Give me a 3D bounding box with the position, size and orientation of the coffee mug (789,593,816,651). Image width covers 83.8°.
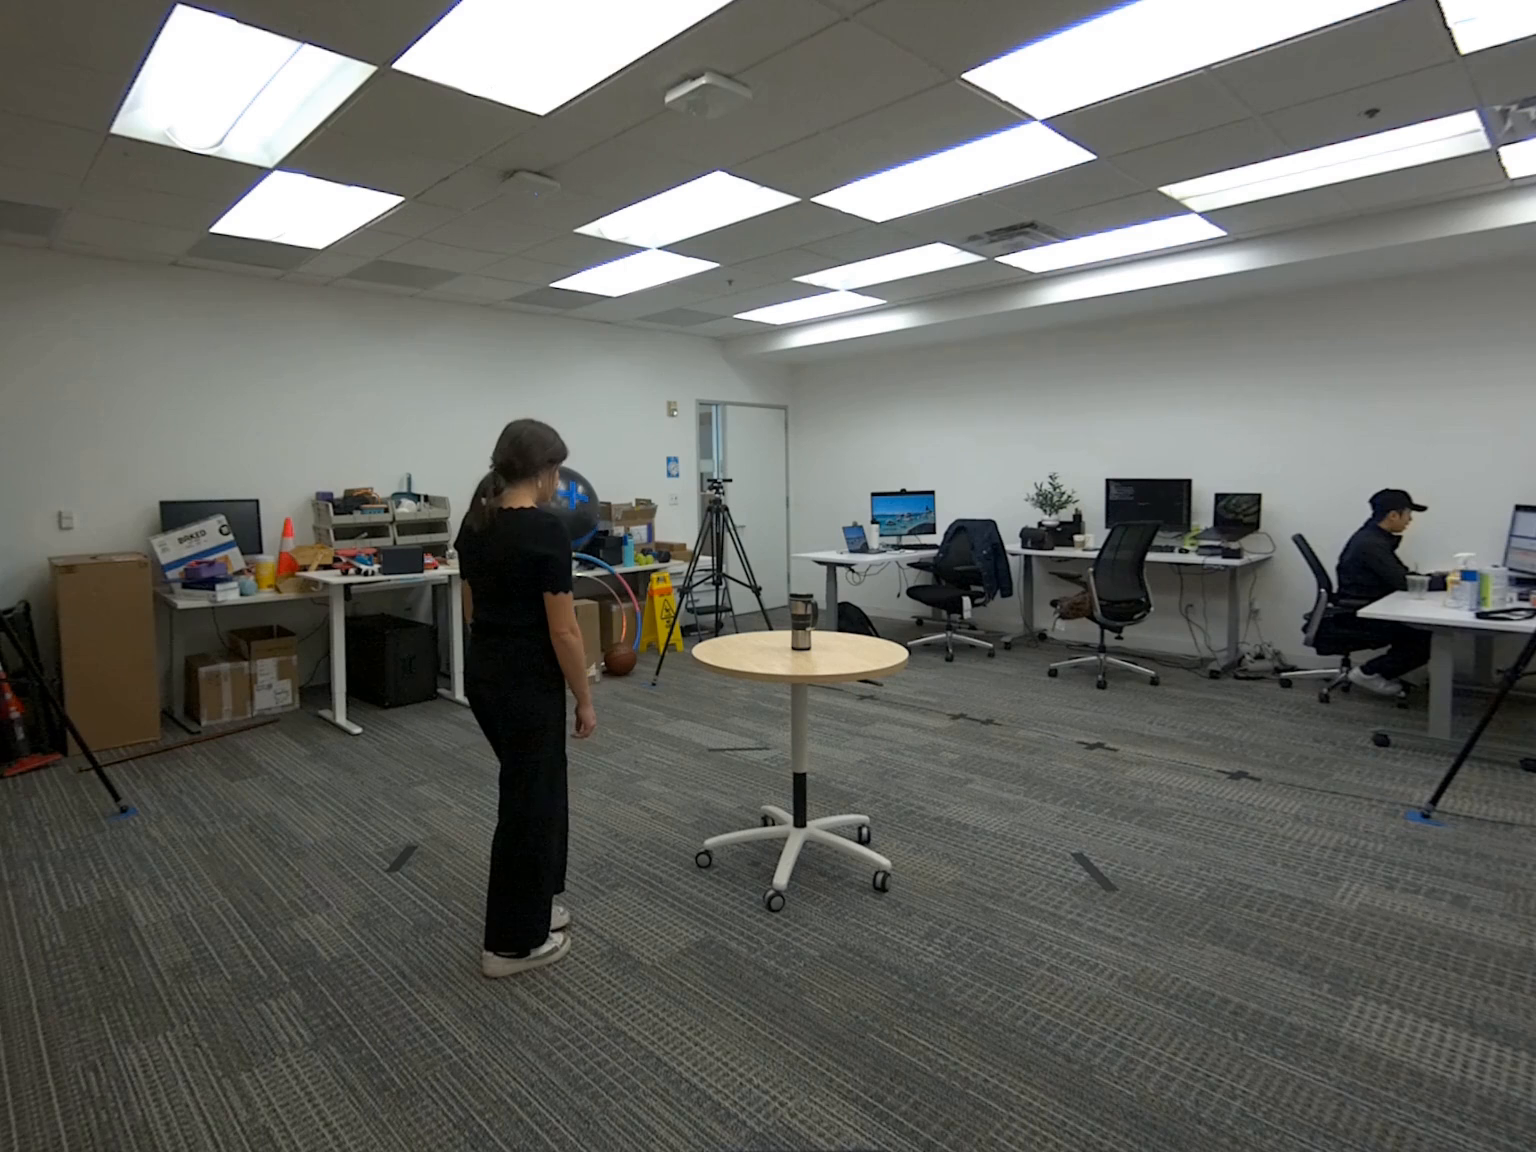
[{"bbox_3d":[0.112,0.165,3.041,0.090,0.202,0.119,4,3,24],"label":"coffee mug"}]
